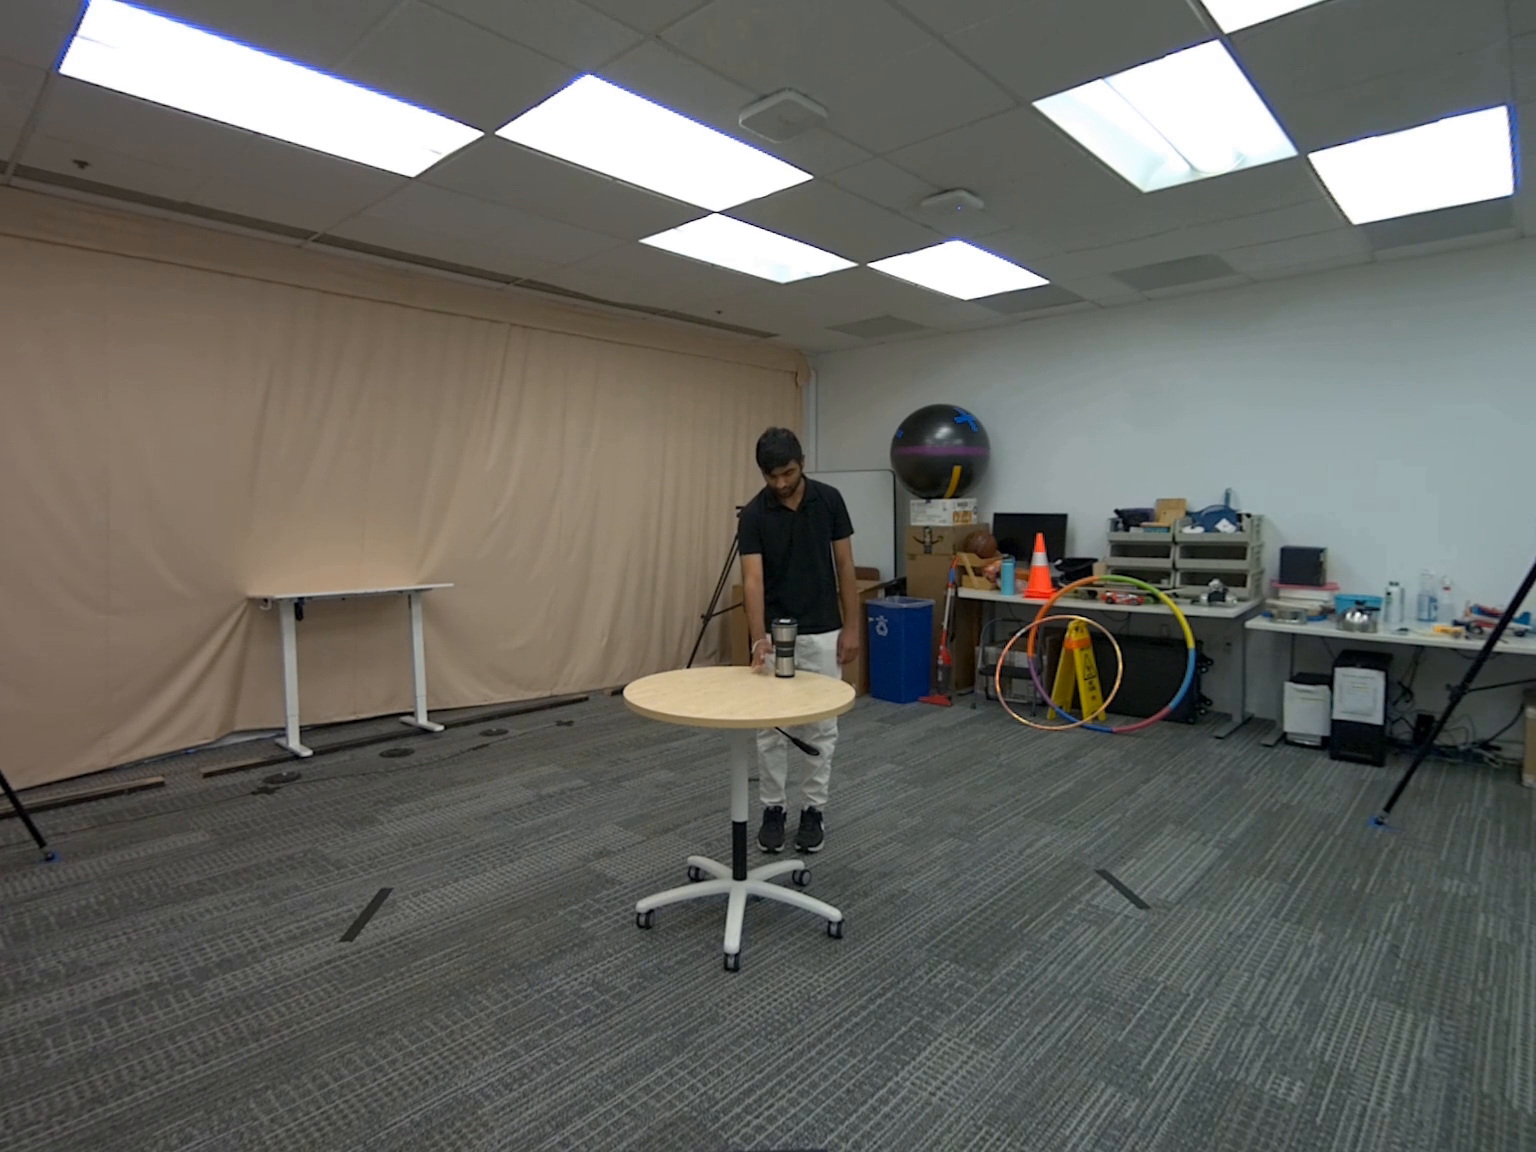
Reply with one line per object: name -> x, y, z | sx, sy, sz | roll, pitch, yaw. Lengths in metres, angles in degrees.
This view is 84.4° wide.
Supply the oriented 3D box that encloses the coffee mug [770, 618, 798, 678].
coffee mug -> 0.080, 0.256, 3.011 | 0.118, 0.202, 0.091 | -5, 4, -43
